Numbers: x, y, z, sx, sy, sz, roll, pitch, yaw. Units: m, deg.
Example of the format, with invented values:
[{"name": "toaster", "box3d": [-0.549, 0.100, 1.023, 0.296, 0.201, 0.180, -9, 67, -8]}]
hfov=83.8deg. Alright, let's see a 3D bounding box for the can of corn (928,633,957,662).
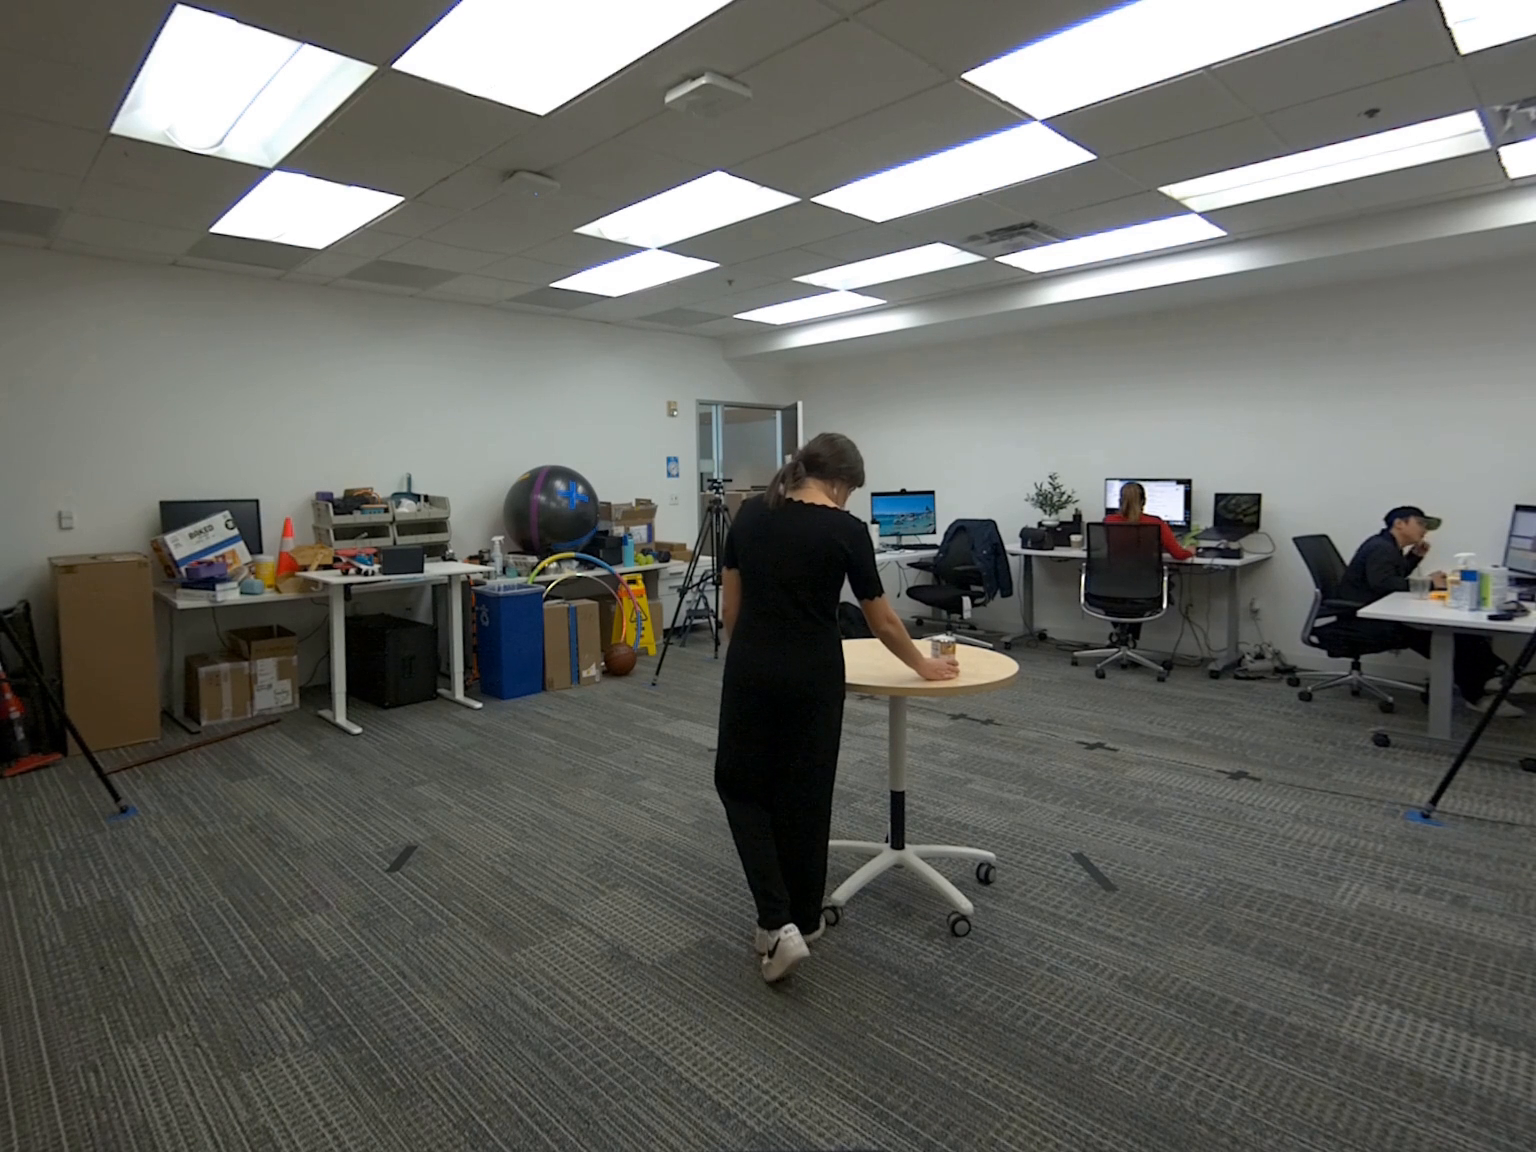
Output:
[{"name": "can of corn", "box3d": [0.554, 0.247, 2.643, 0.074, 0.111, 0.074, 0, 4, -2]}]
